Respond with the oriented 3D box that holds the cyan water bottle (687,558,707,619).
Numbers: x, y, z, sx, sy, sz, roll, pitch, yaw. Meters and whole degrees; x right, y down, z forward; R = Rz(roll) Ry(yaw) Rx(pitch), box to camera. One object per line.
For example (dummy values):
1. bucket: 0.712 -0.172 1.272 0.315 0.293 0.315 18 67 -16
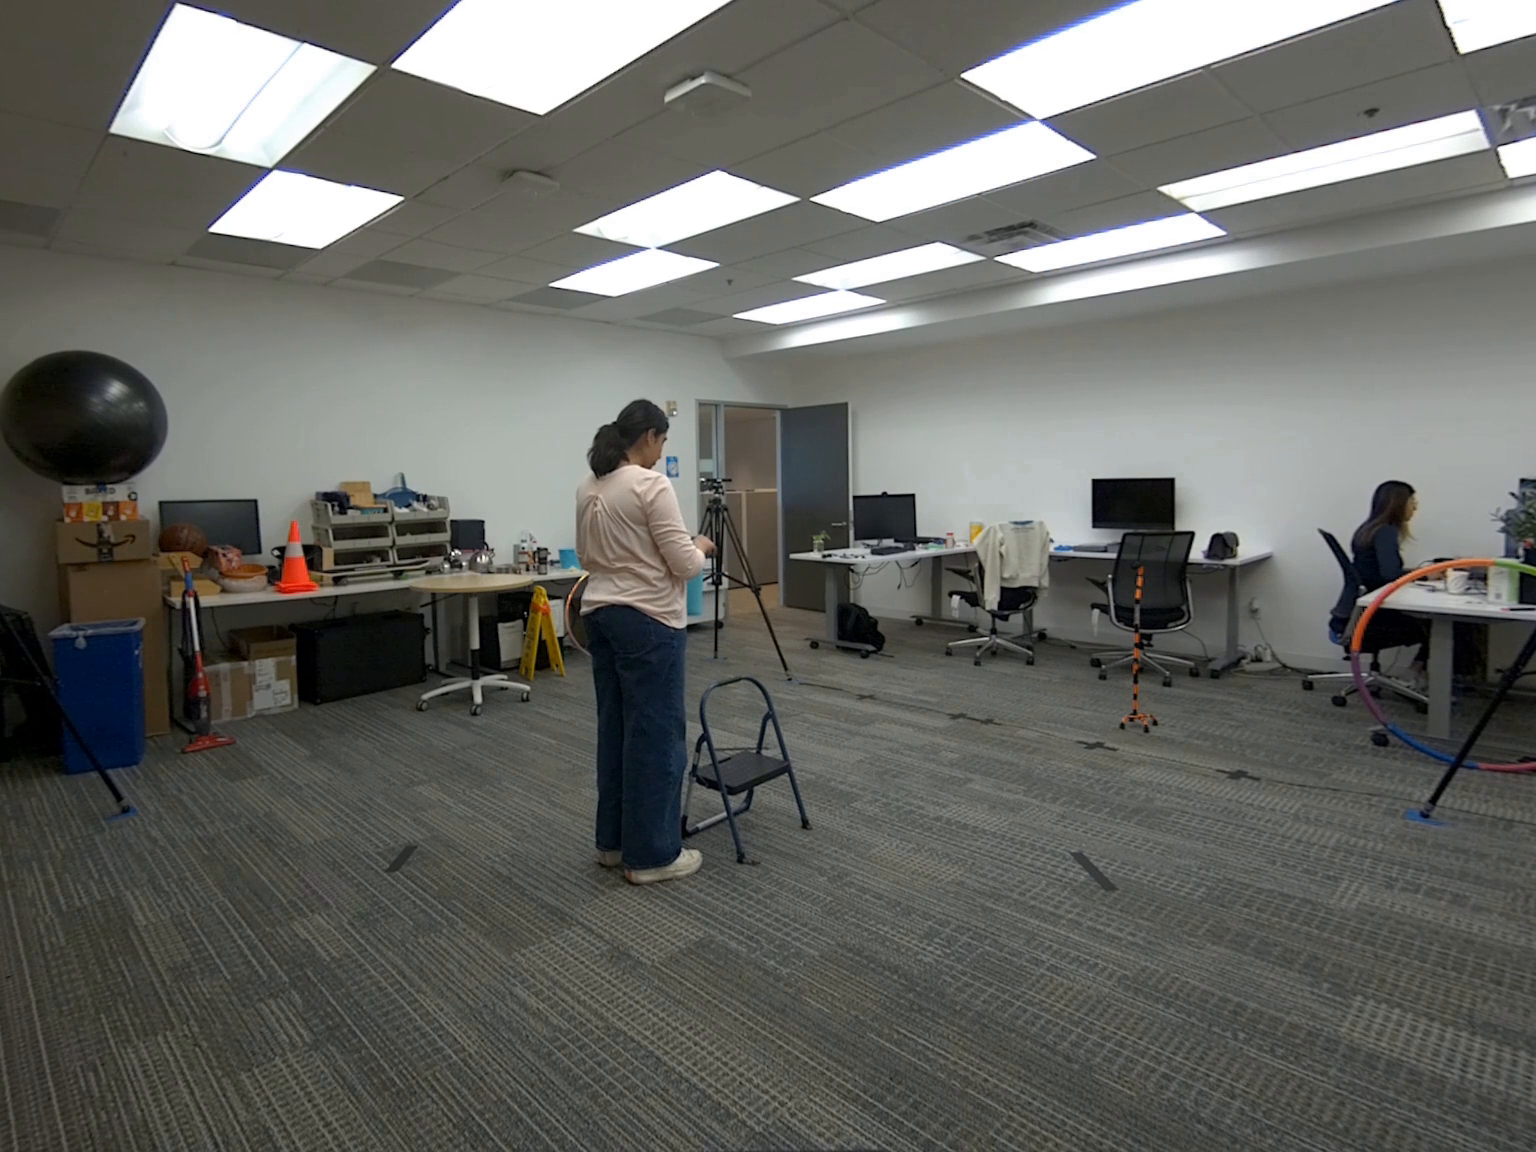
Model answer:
1. cyan water bottle: -0.290 0.008 3.233 0.092 0.283 0.092 6 2 -2
